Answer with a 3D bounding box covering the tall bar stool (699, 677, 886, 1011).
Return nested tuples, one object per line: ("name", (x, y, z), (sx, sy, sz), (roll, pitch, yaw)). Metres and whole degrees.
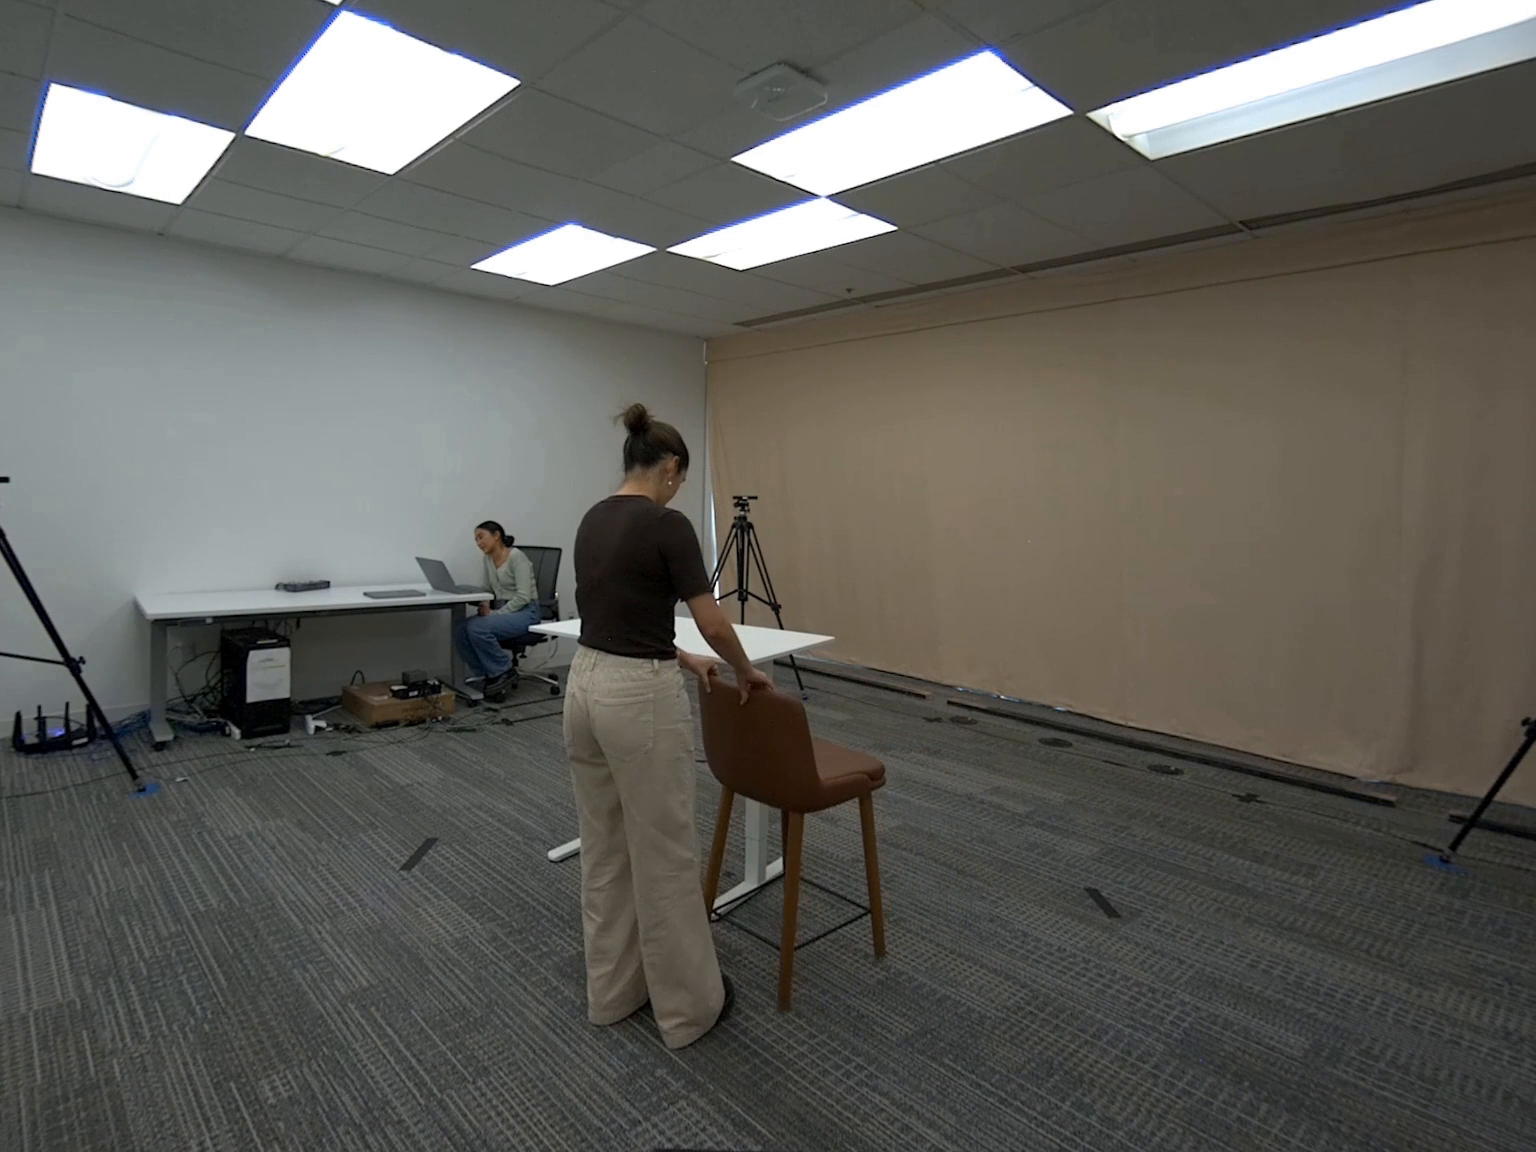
("tall bar stool", (0.063, 0.719, 2.529), (0.457, 0.886, 0.468), (-6, 8, -44))
